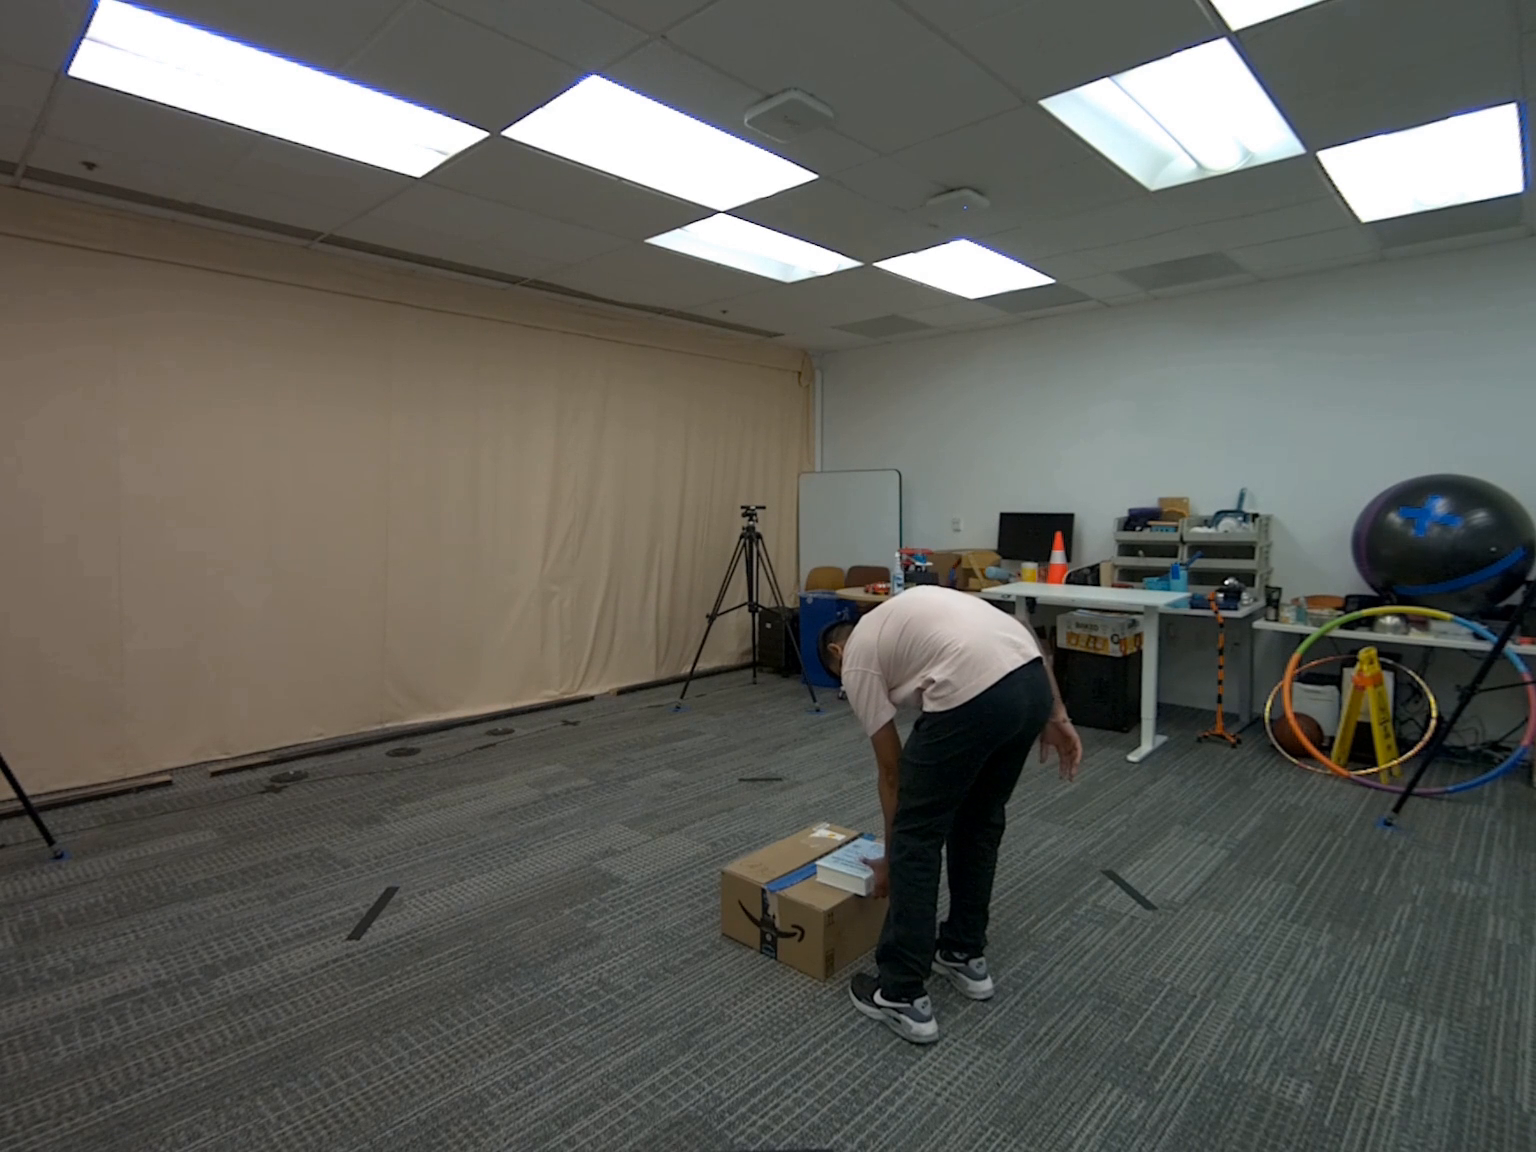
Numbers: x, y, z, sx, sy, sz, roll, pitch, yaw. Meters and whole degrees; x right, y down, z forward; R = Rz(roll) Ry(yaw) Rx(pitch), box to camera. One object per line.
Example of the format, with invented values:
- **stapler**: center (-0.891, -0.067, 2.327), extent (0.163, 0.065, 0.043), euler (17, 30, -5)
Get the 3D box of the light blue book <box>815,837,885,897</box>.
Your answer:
- **light blue book**: center (0.305, 0.924, 2.684), extent (0.197, 0.059, 0.253), euler (1, 4, 41)
